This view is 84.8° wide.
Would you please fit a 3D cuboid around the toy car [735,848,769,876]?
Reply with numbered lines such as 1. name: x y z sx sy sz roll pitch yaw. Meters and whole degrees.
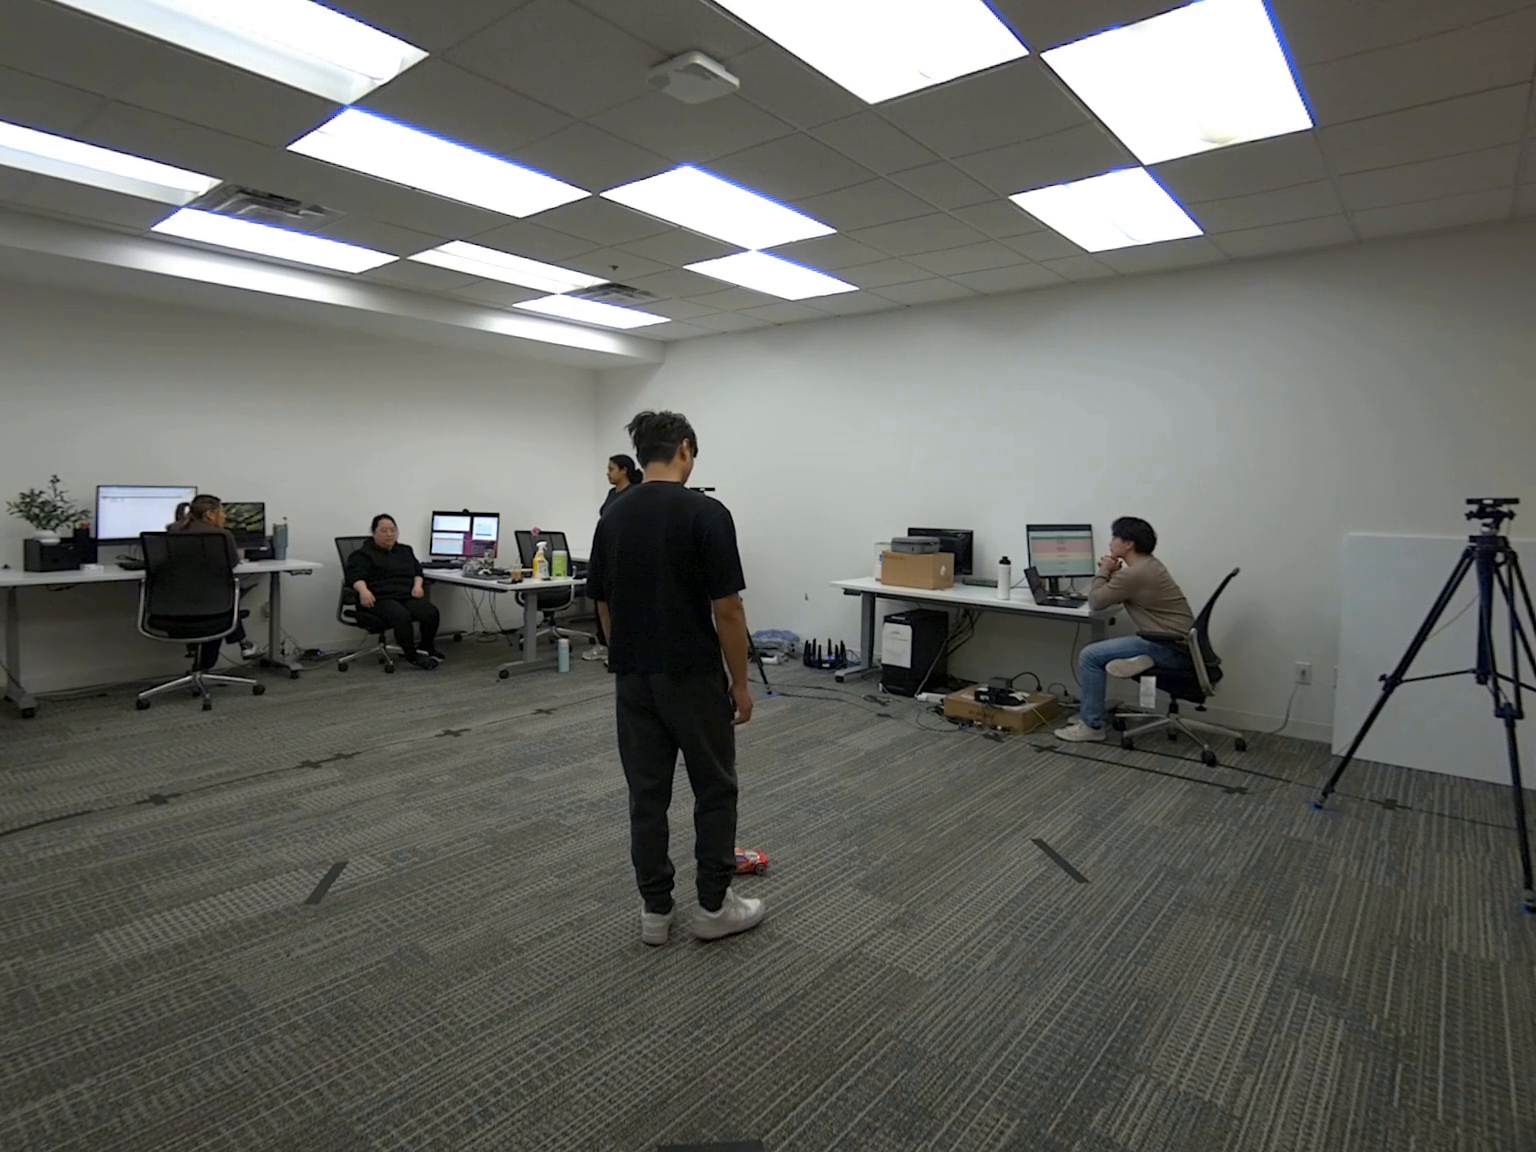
1. toy car: -0.141 1.038 3.093 0.251 0.083 0.132 11 2 -12
